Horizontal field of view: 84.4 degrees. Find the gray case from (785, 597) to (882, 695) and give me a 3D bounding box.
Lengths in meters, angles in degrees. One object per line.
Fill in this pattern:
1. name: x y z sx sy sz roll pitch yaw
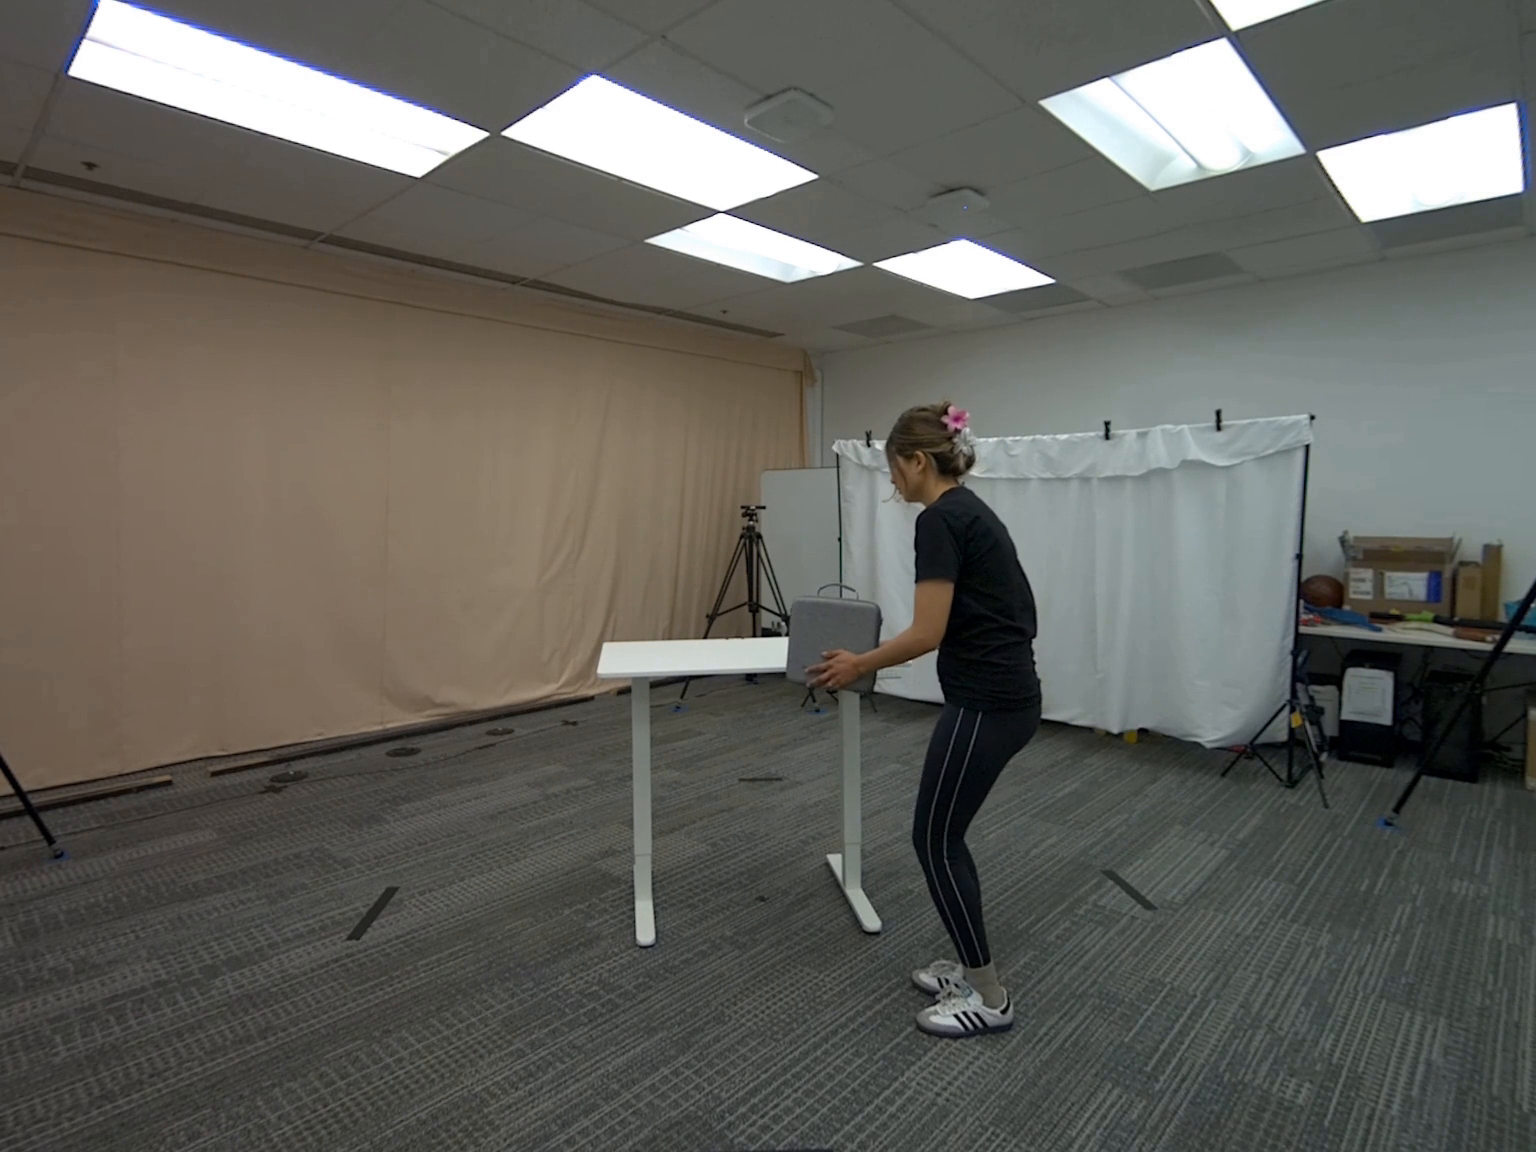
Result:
1. gray case: 0.197 0.193 2.412 0.262 0.260 0.102 6 1 17
